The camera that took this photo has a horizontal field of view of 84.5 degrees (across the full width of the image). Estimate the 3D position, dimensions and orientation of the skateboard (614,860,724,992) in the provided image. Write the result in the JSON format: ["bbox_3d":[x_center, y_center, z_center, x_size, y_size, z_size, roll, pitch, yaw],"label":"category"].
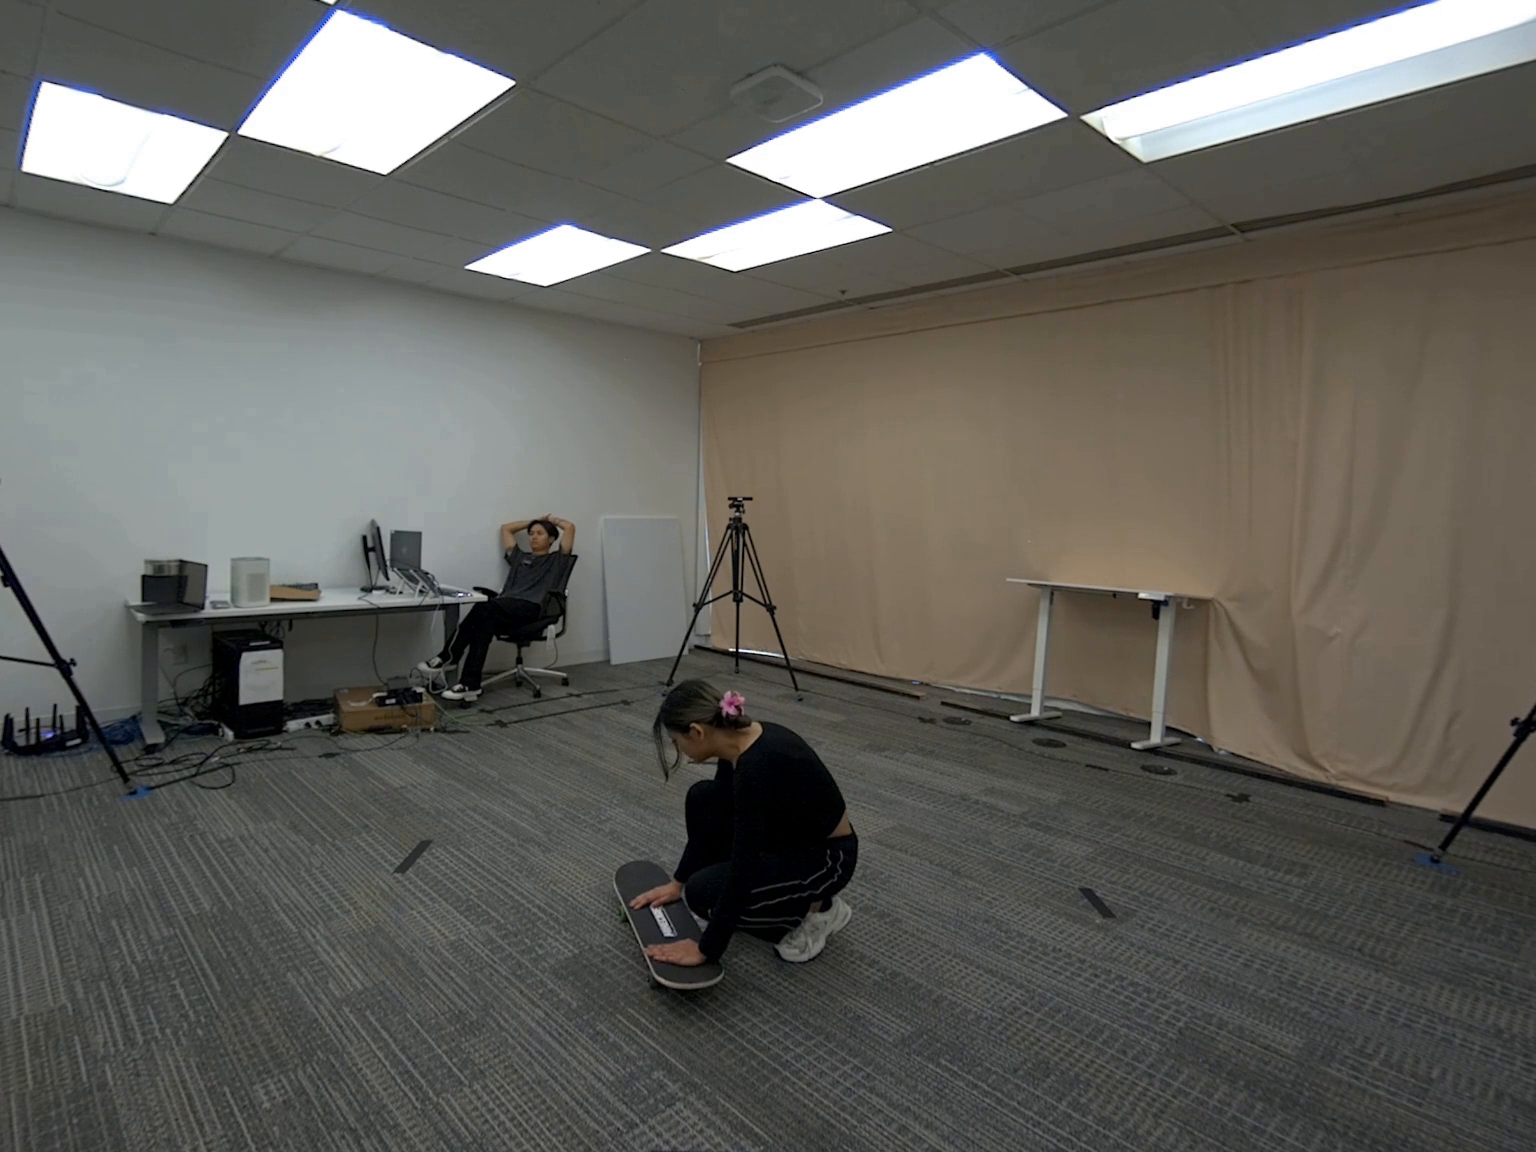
[{"bbox_3d":[-0.327,1.088,2.597,0.190,0.110,0.800,0,6,-21],"label":"skateboard"}]
